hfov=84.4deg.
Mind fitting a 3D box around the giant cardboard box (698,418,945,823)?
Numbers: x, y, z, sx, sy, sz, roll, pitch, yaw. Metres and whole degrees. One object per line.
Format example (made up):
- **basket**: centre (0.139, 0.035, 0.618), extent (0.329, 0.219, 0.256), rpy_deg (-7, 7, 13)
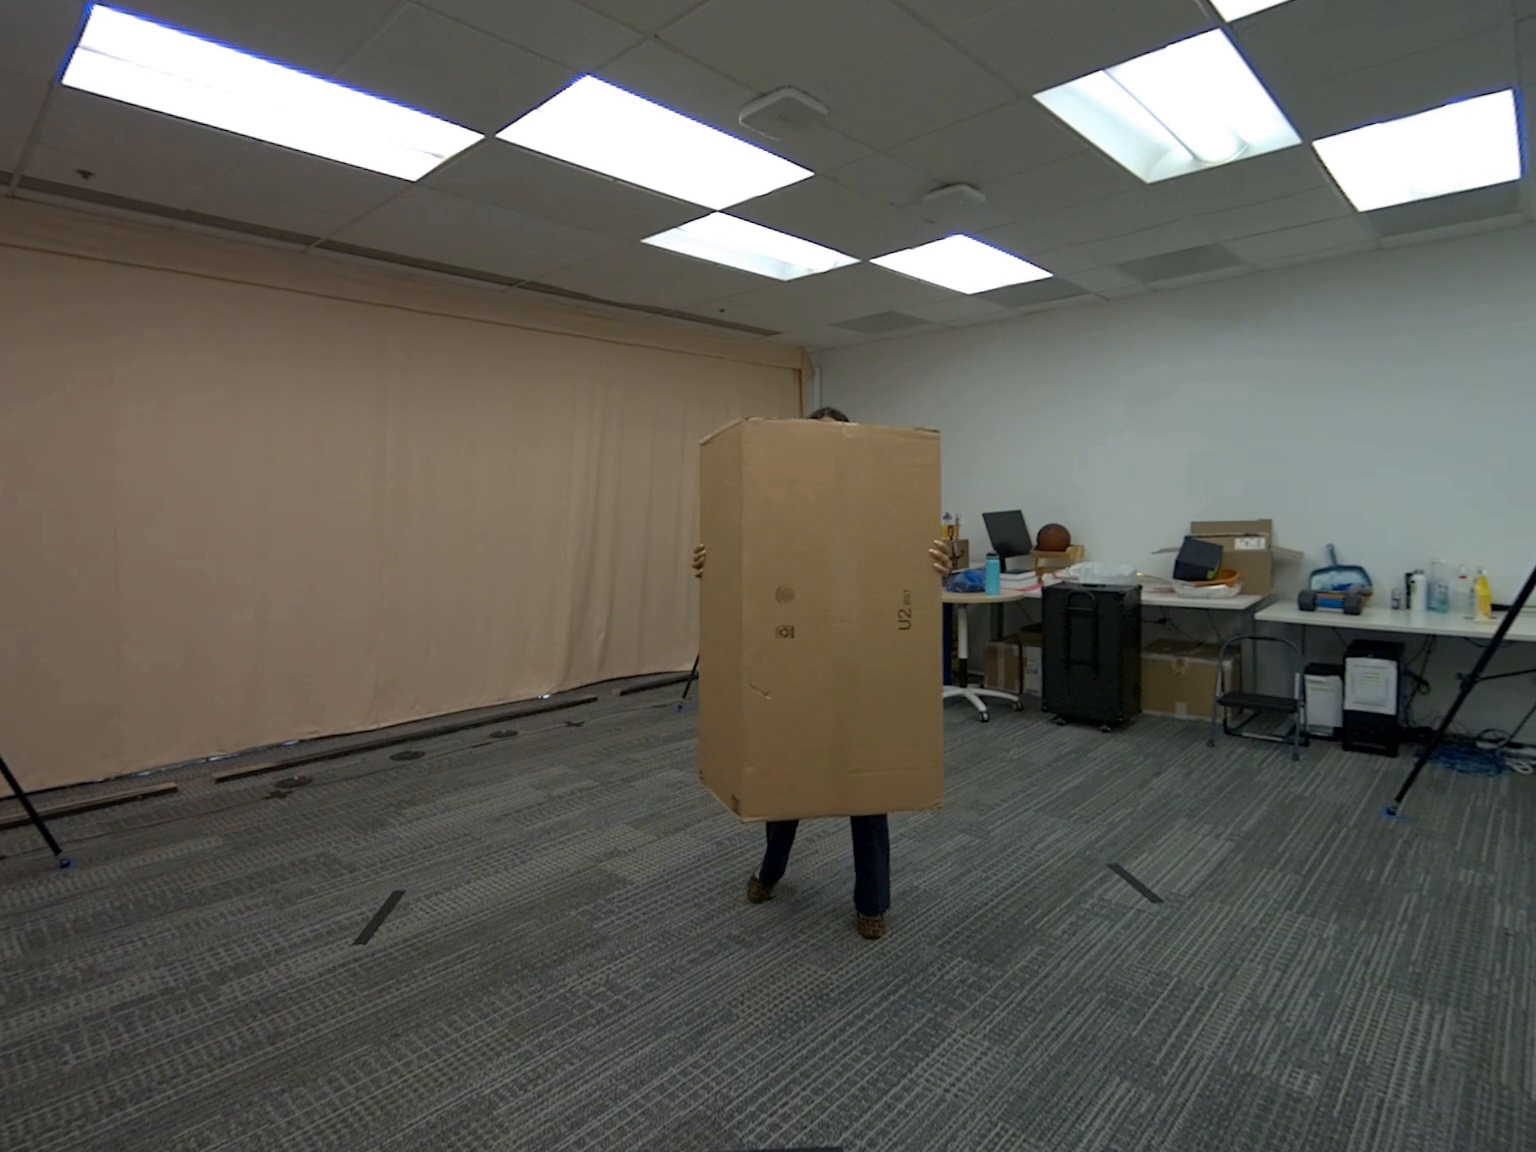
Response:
- **giant cardboard box**: centre (0.126, 0.112, 2.391), extent (0.568, 1.027, 0.433), rpy_deg (1, -2, -17)
